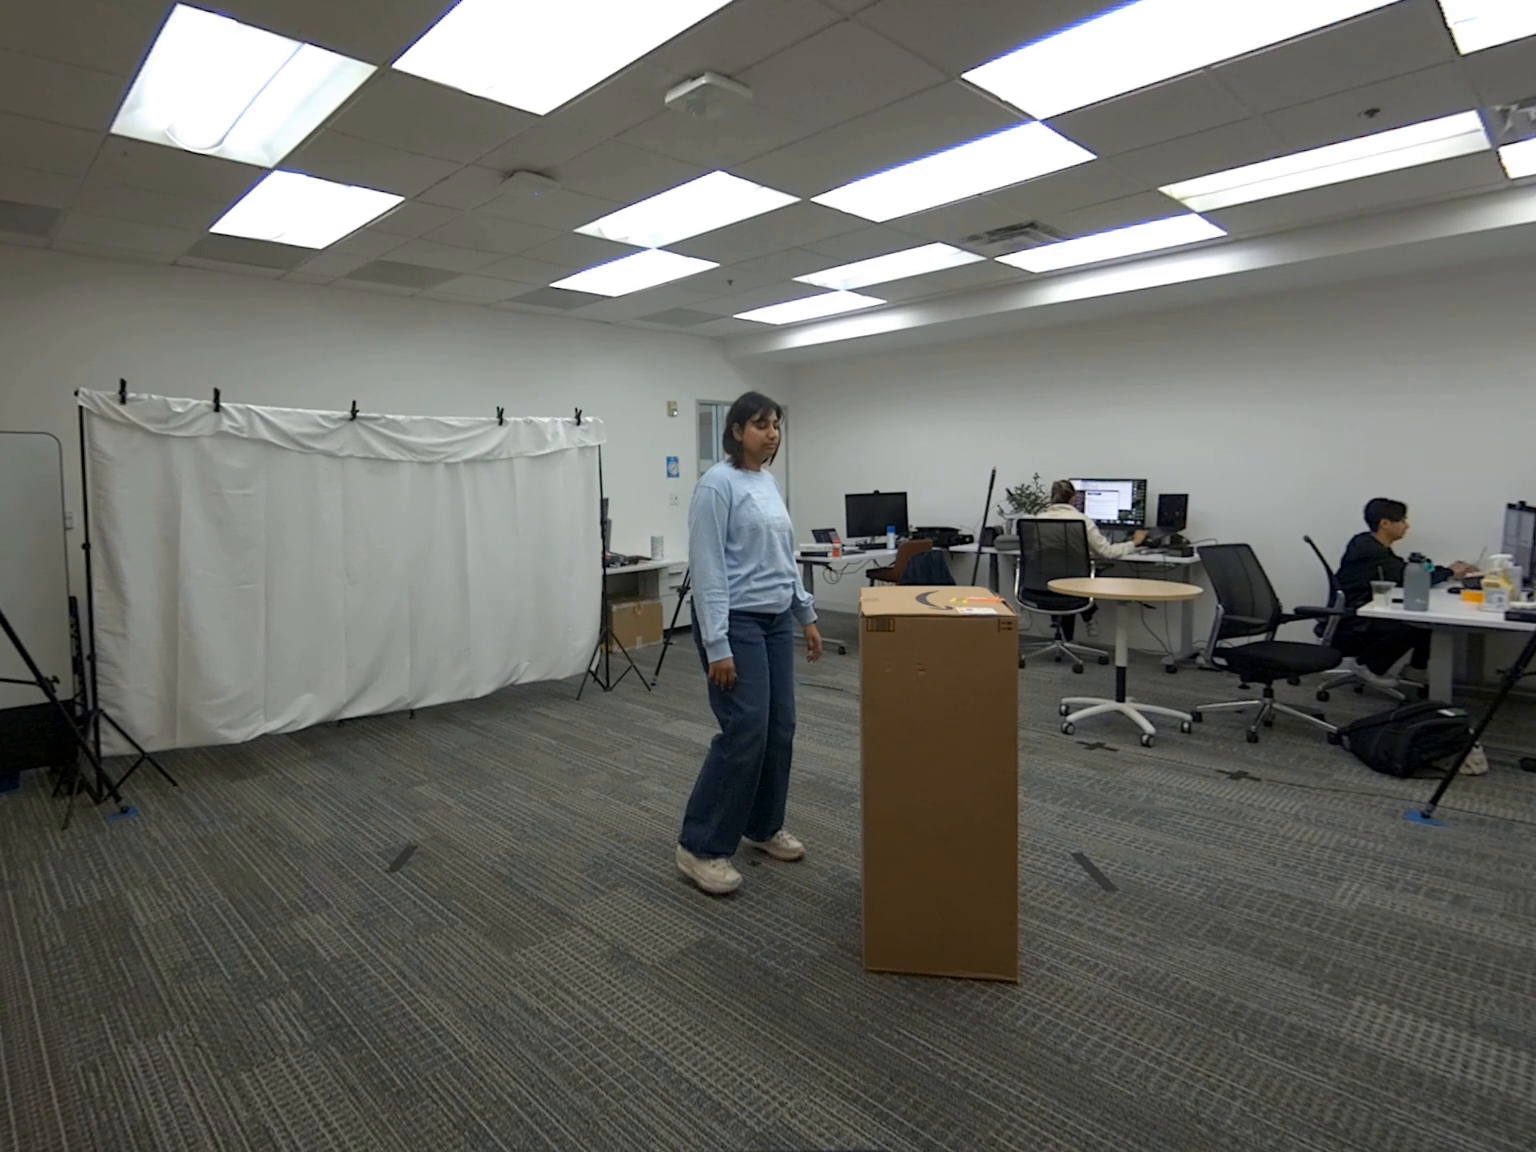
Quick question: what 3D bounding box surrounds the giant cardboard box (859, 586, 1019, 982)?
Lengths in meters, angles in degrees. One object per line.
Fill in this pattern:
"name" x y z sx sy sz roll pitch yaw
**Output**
"giant cardboard box" 0.508 0.580 2.627 0.430 1.022 0.575 -1 4 7
